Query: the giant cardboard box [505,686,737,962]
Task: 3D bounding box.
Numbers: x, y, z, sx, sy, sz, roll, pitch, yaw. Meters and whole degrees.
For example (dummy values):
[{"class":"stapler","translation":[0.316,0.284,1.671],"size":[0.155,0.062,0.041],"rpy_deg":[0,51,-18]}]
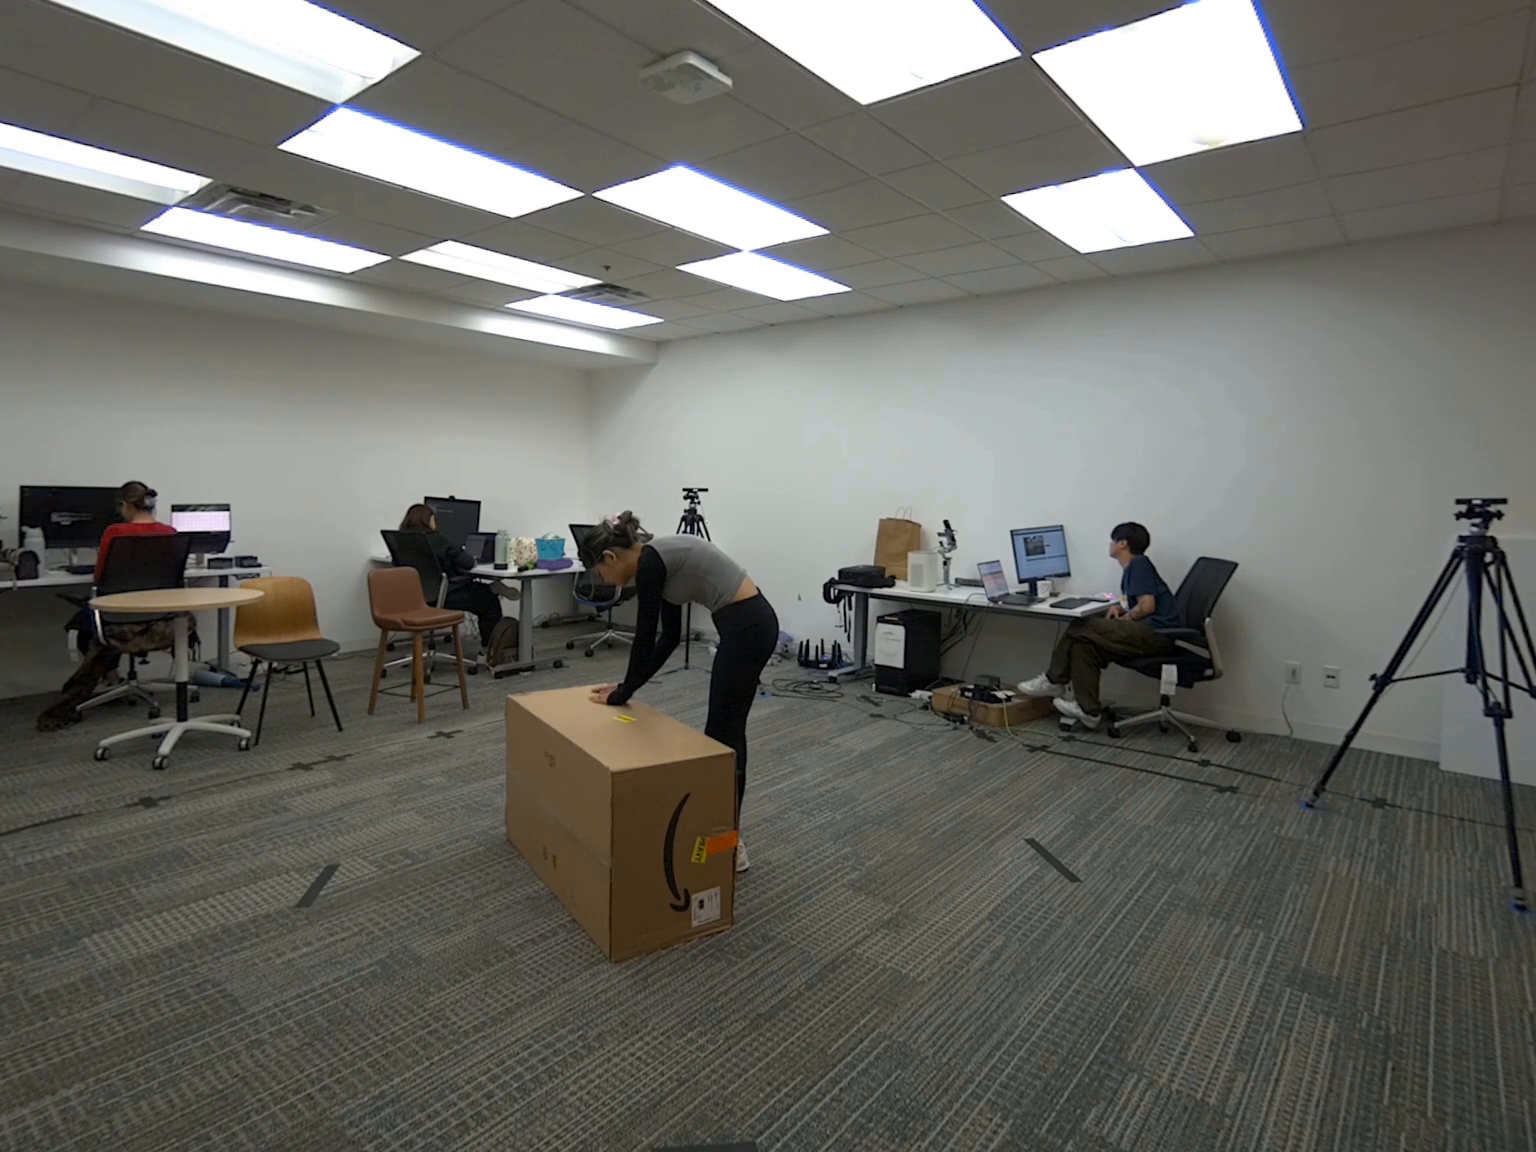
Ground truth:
[{"class":"giant cardboard box","translation":[-0.576,0.786,2.999],"size":[0.414,0.575,1.059],"rpy_deg":[-1,6,-33]}]
